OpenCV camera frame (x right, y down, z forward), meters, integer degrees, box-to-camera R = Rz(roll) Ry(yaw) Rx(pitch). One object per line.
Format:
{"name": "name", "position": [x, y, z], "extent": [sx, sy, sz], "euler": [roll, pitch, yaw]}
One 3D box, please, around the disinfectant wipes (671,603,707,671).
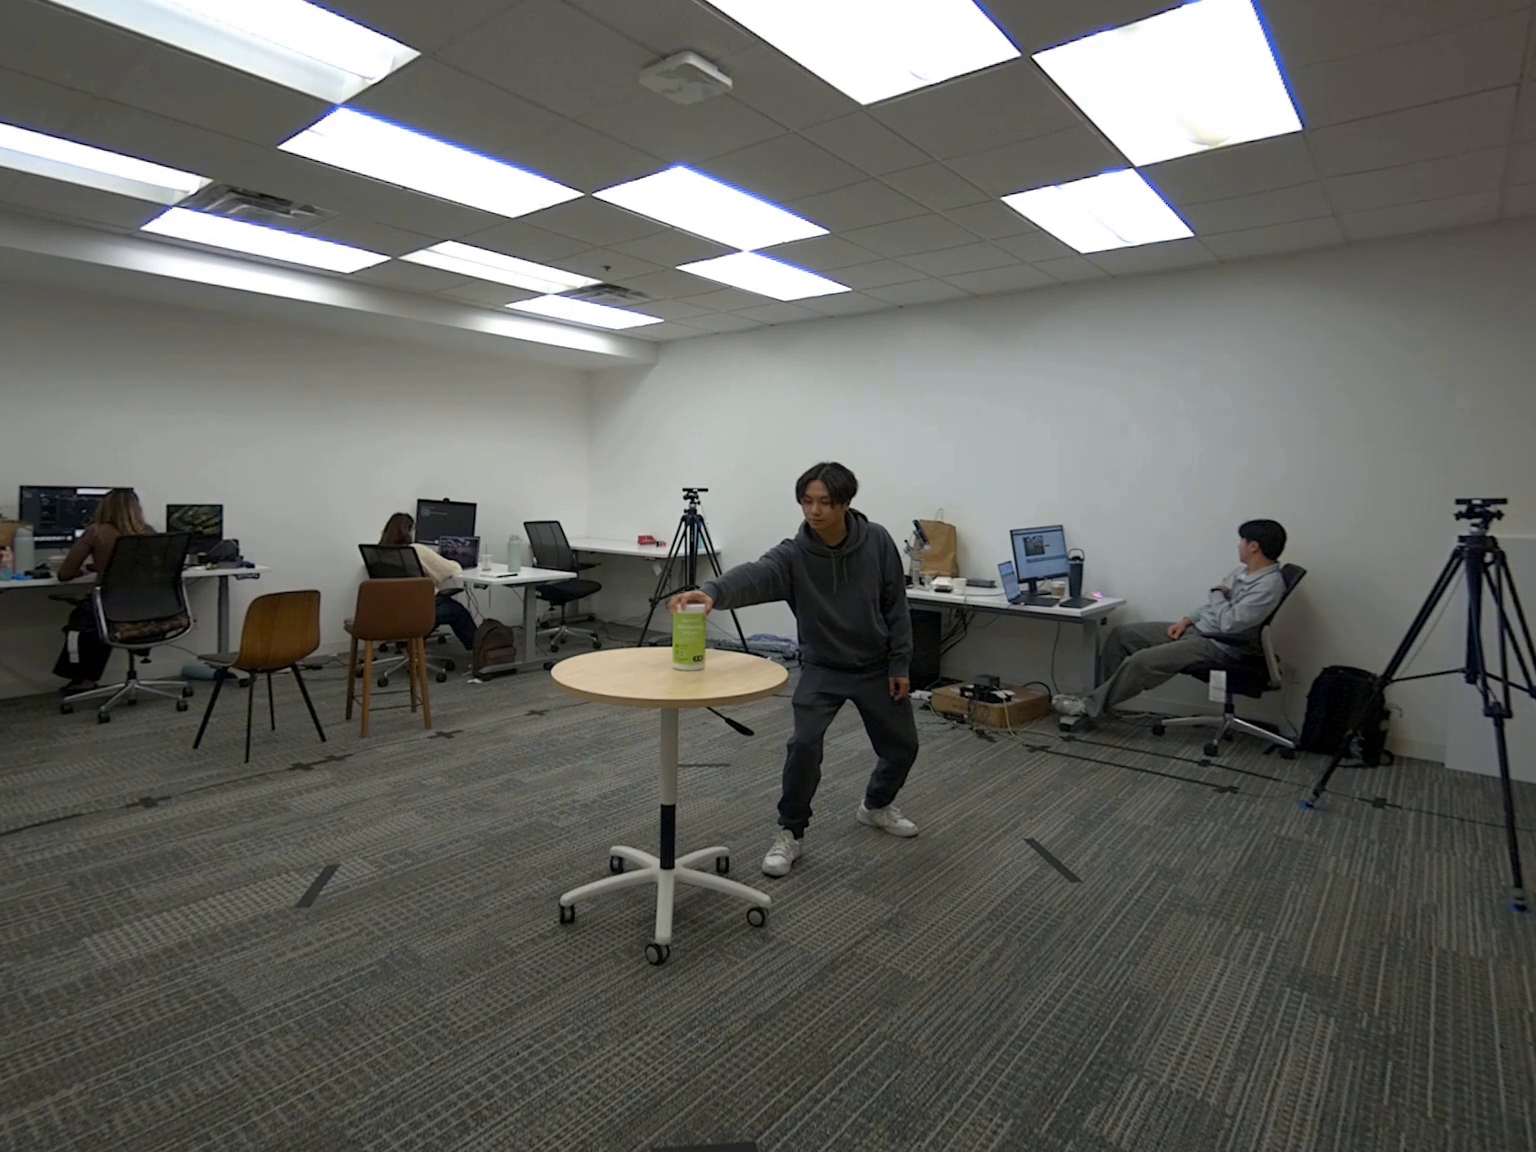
{"name": "disinfectant wipes", "position": [-0.271, 0.196, 2.805], "extent": [0.117, 0.217, 0.118], "euler": [3, 2, -2]}
